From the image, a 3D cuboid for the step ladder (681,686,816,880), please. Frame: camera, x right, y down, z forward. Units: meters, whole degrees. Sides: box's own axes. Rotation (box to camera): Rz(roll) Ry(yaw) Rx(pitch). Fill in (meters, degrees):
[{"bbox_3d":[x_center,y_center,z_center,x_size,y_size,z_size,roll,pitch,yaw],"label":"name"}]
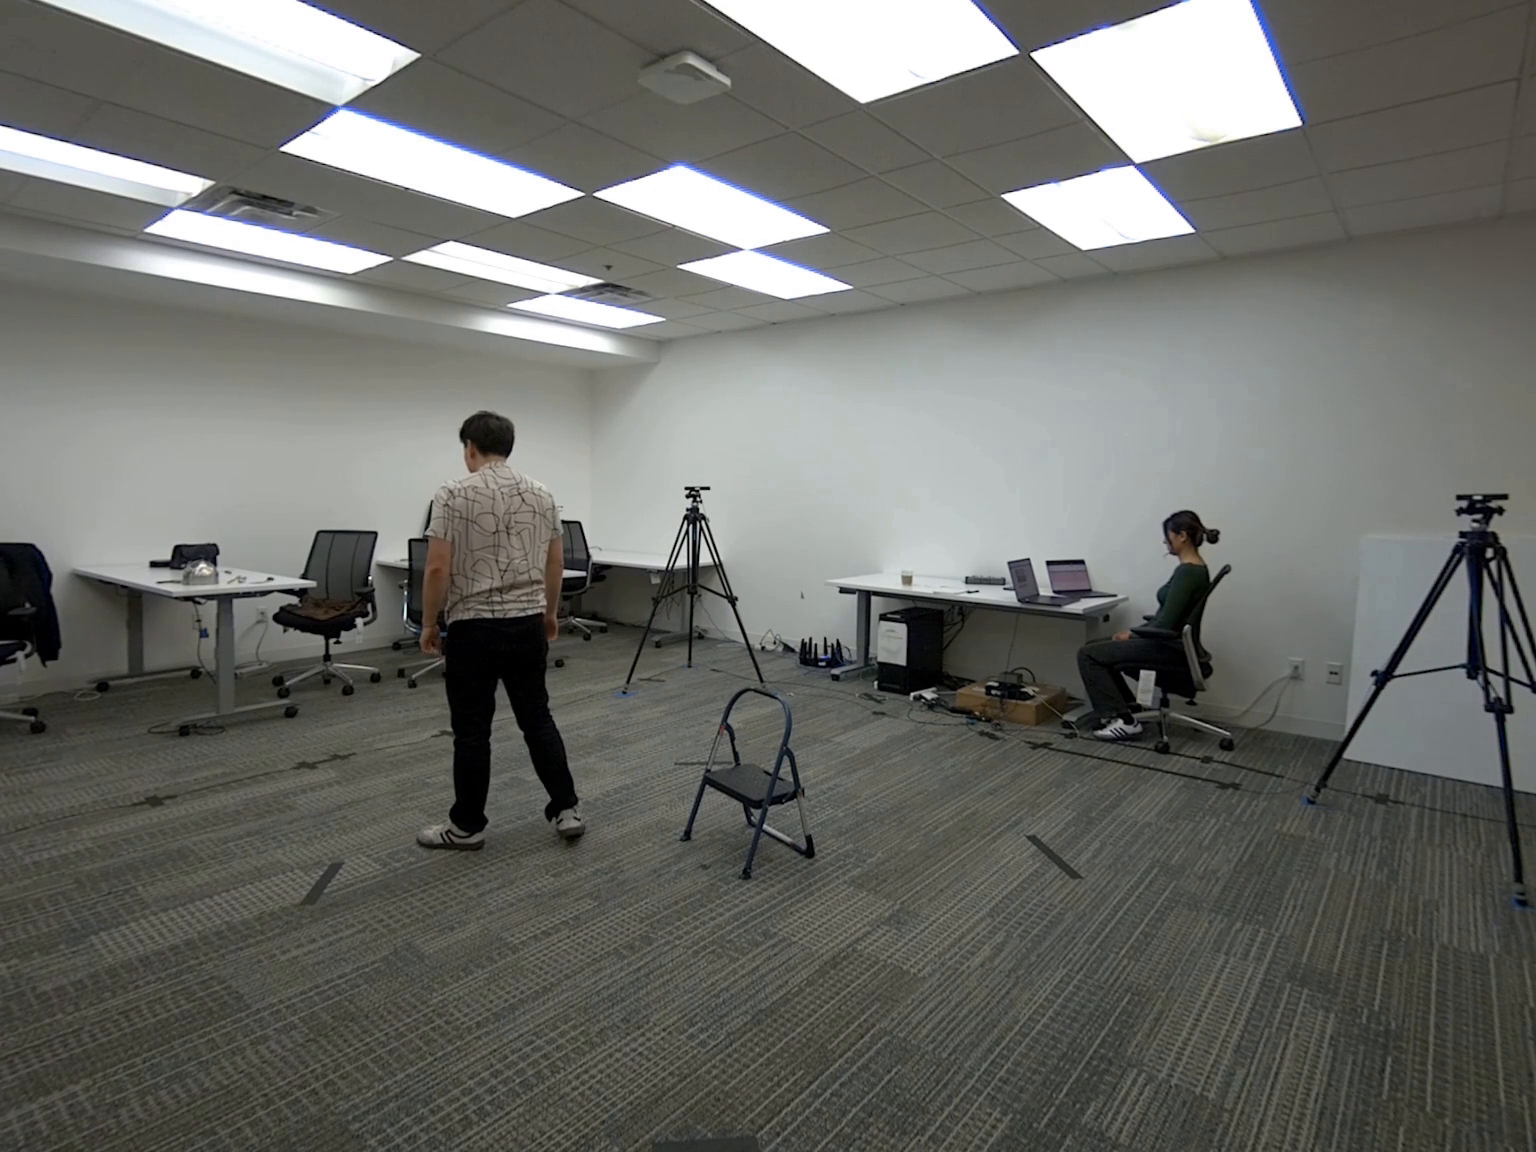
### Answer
[{"bbox_3d":[-0.080,0.746,3.268,0.339,0.604,0.445,-1,4,-37],"label":"step ladder"}]
